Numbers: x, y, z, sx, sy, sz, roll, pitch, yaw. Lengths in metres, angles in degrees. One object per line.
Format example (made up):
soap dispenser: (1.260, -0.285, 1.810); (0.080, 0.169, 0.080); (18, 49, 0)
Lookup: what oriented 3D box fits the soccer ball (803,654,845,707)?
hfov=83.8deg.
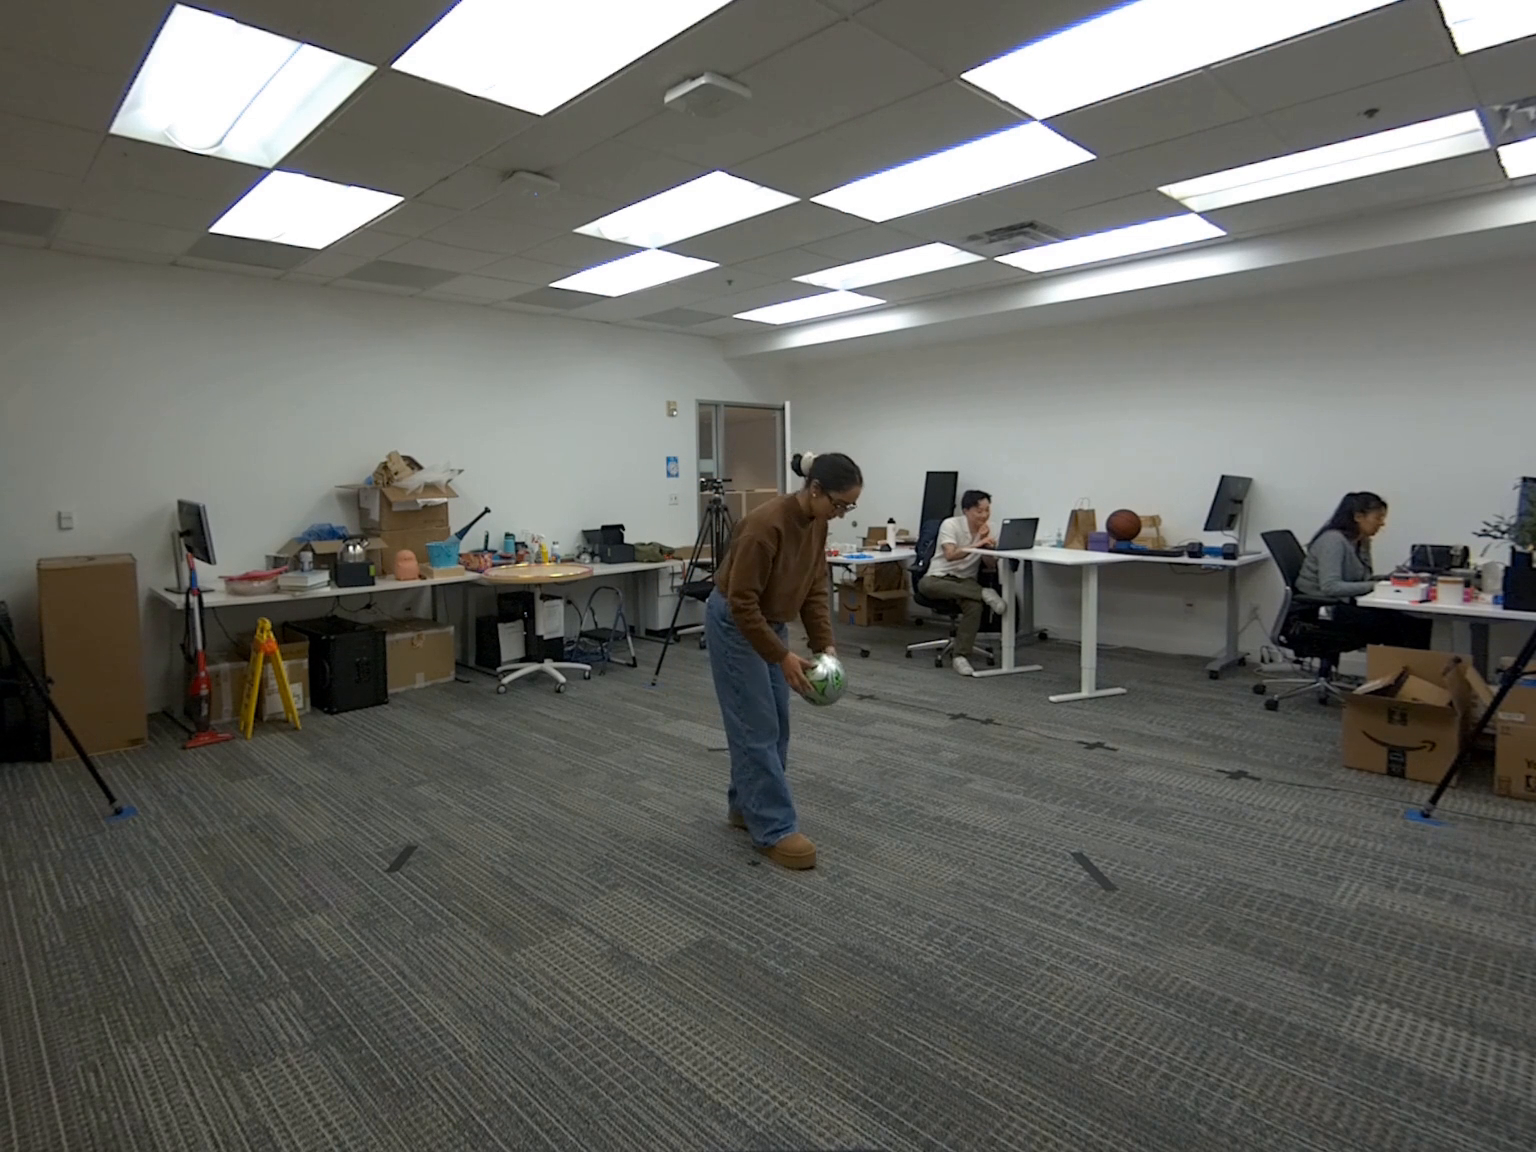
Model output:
soccer ball: (0.182, 0.370, 3.058); (0.187, 0.187, 0.188); (-1, 5, -2)
